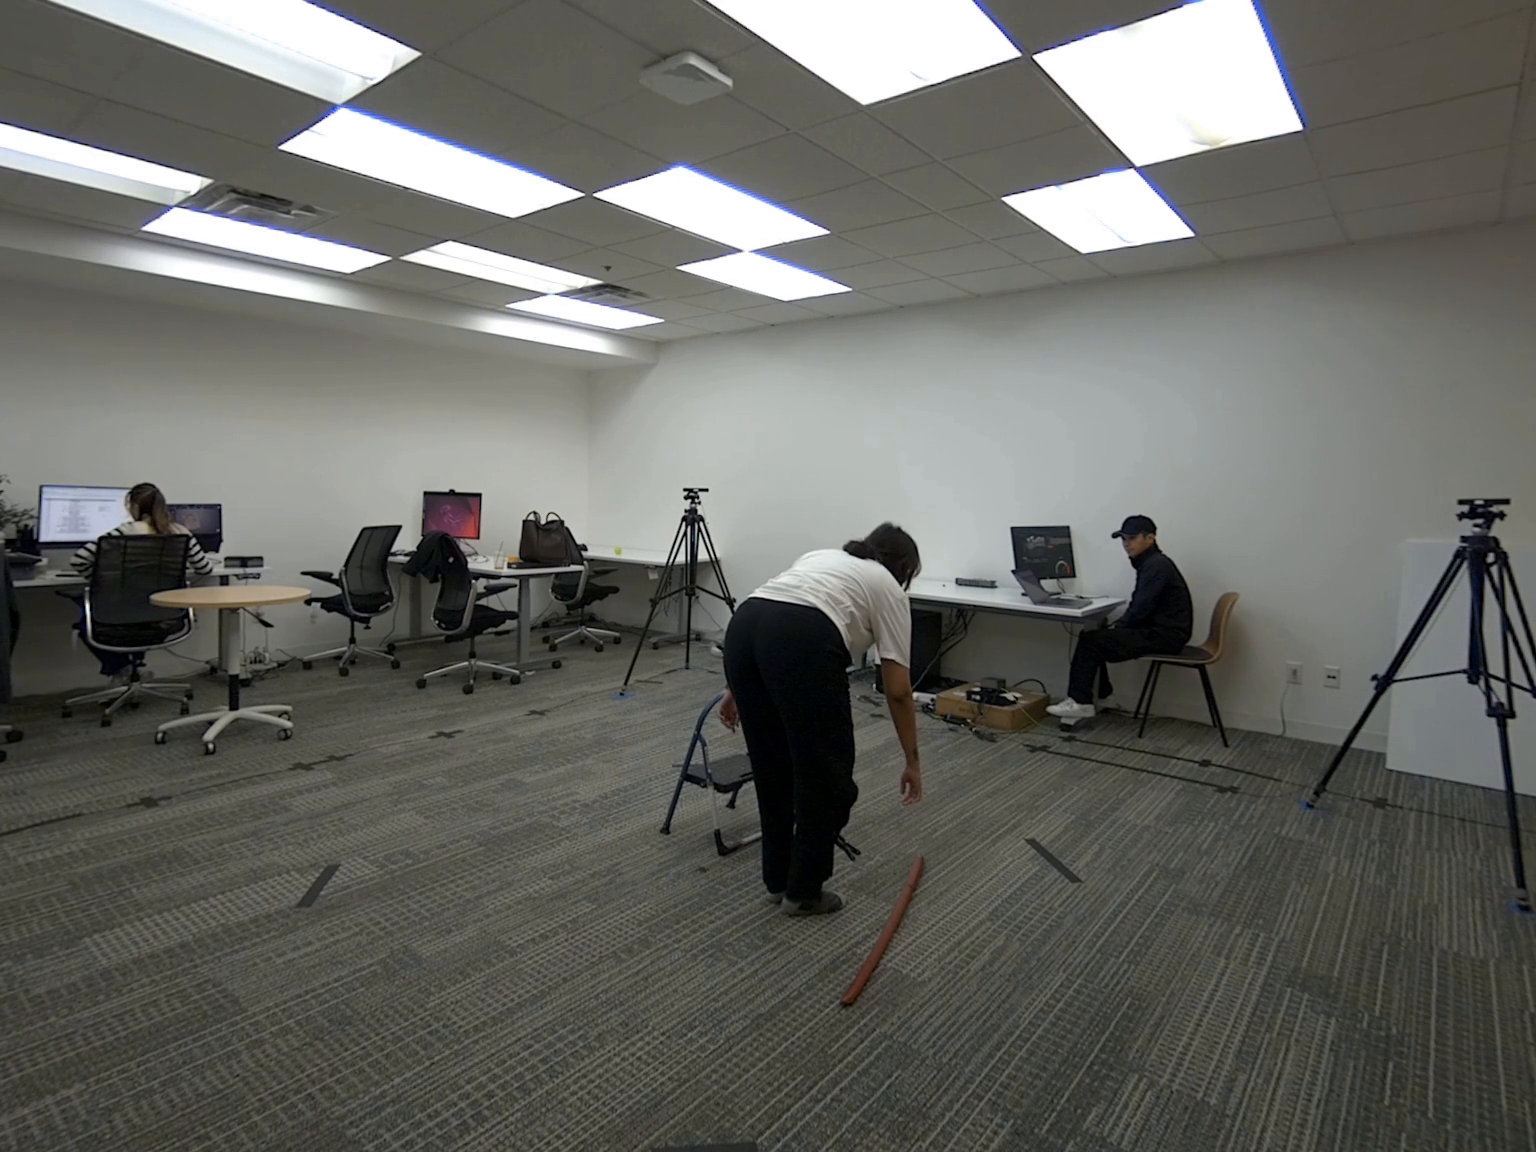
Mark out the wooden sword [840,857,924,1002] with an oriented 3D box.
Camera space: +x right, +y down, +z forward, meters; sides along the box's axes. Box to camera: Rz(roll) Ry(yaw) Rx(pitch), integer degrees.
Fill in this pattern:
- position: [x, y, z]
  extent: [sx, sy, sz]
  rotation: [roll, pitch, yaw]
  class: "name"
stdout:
- position: [0.381, 1.092, 2.758]
  extent: [0.052, 0.024, 1.002]
  rotation: [-17, -2, 24]
  class: "wooden sword"
